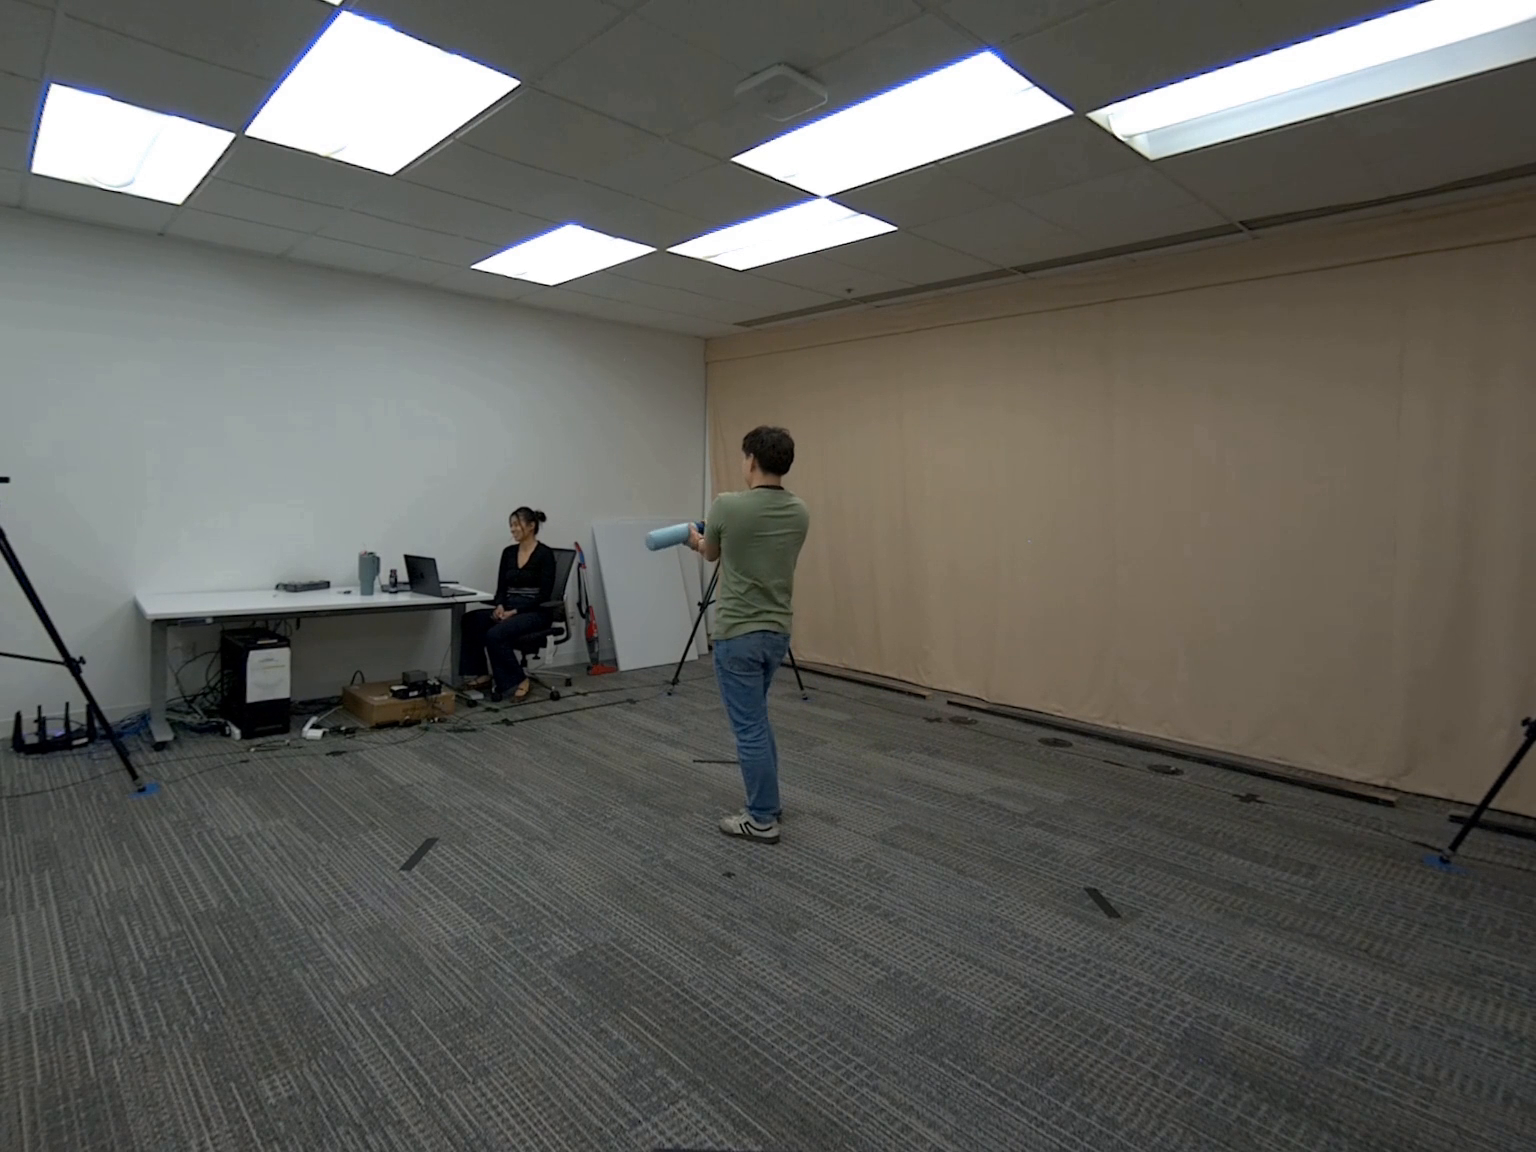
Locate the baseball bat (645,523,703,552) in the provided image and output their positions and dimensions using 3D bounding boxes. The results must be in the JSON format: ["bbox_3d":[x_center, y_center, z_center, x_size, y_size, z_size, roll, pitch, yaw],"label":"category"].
[{"bbox_3d":[-0.326,-0.213,3.844,0.534,0.088,0.091,-18,16,-37],"label":"baseball bat"}]
